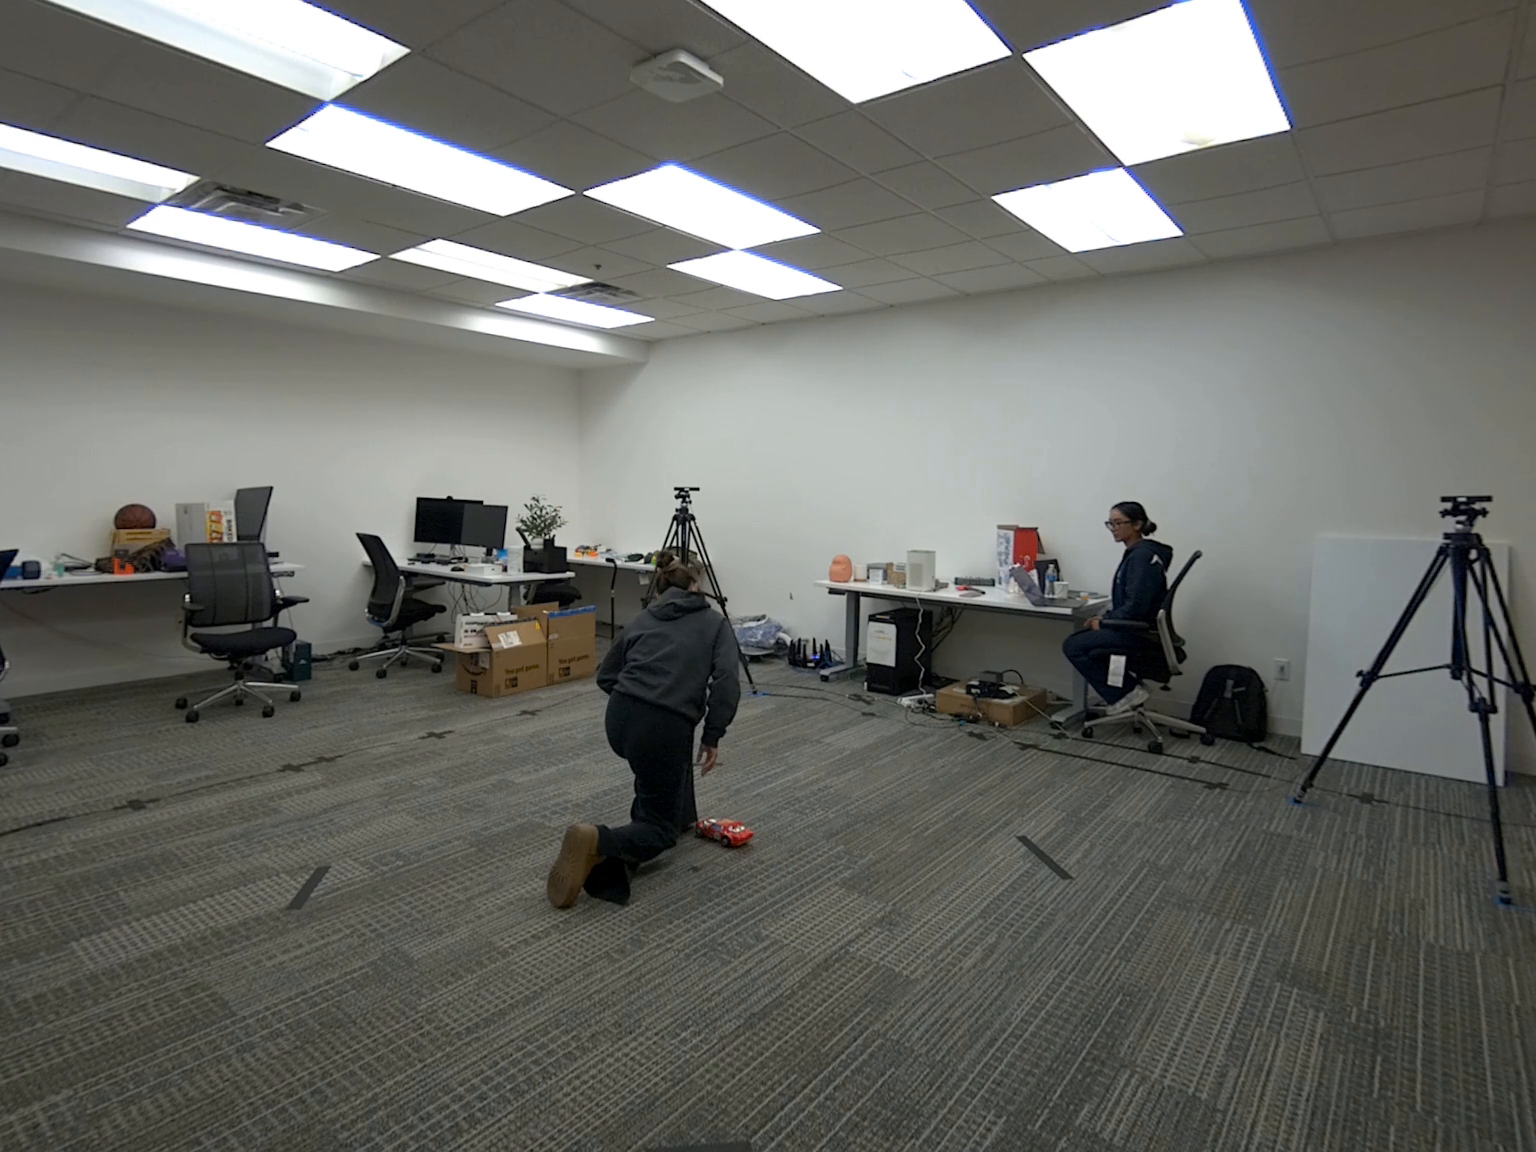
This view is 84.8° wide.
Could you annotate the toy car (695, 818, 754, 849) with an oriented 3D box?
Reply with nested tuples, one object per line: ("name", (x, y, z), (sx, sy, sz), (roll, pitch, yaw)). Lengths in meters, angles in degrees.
("toy car", (-0.172, 1.008, 3.361), (0.261, 0.083, 0.126), (-9, -3, 42))
